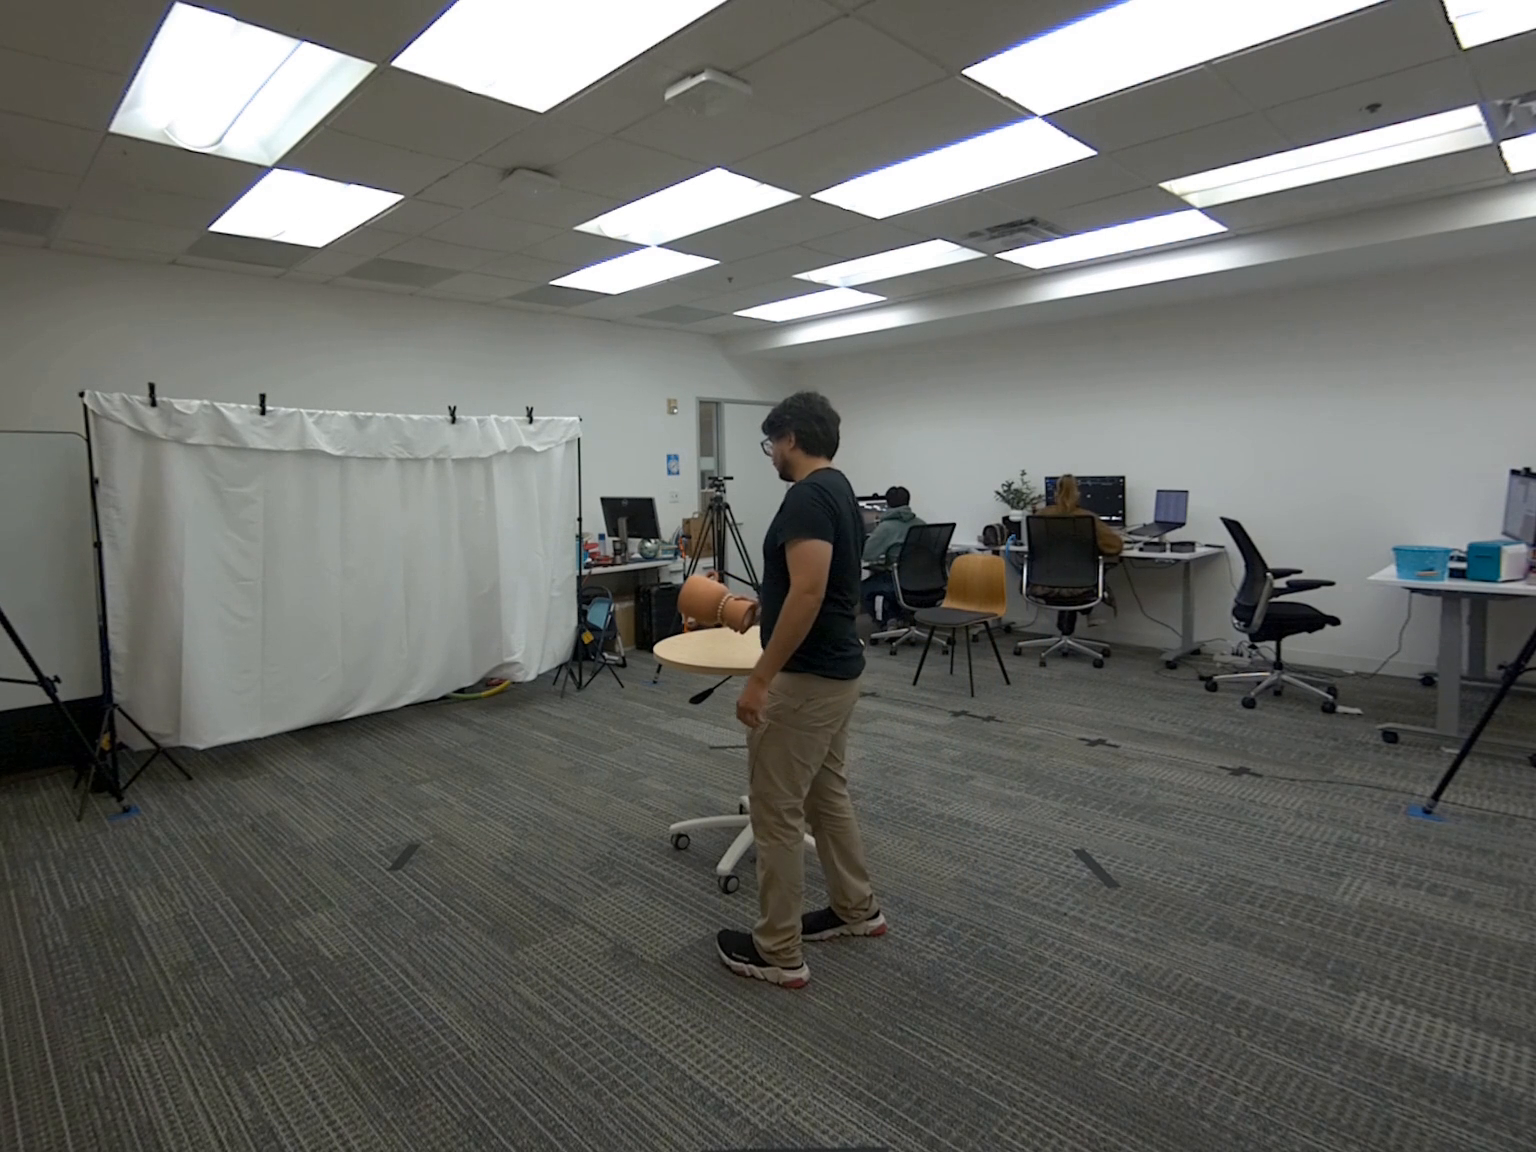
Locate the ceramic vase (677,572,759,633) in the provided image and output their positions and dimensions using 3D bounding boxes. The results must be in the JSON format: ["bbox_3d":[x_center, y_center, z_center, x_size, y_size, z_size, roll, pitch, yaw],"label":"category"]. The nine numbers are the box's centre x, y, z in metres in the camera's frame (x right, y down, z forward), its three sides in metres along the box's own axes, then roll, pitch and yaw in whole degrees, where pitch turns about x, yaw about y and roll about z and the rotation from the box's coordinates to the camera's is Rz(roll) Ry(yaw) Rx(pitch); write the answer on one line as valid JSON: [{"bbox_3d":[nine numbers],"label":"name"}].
[{"bbox_3d":[-0.151,0.089,2.659,0.225,0.156,0.133,21,25,19],"label":"ceramic vase"}]
